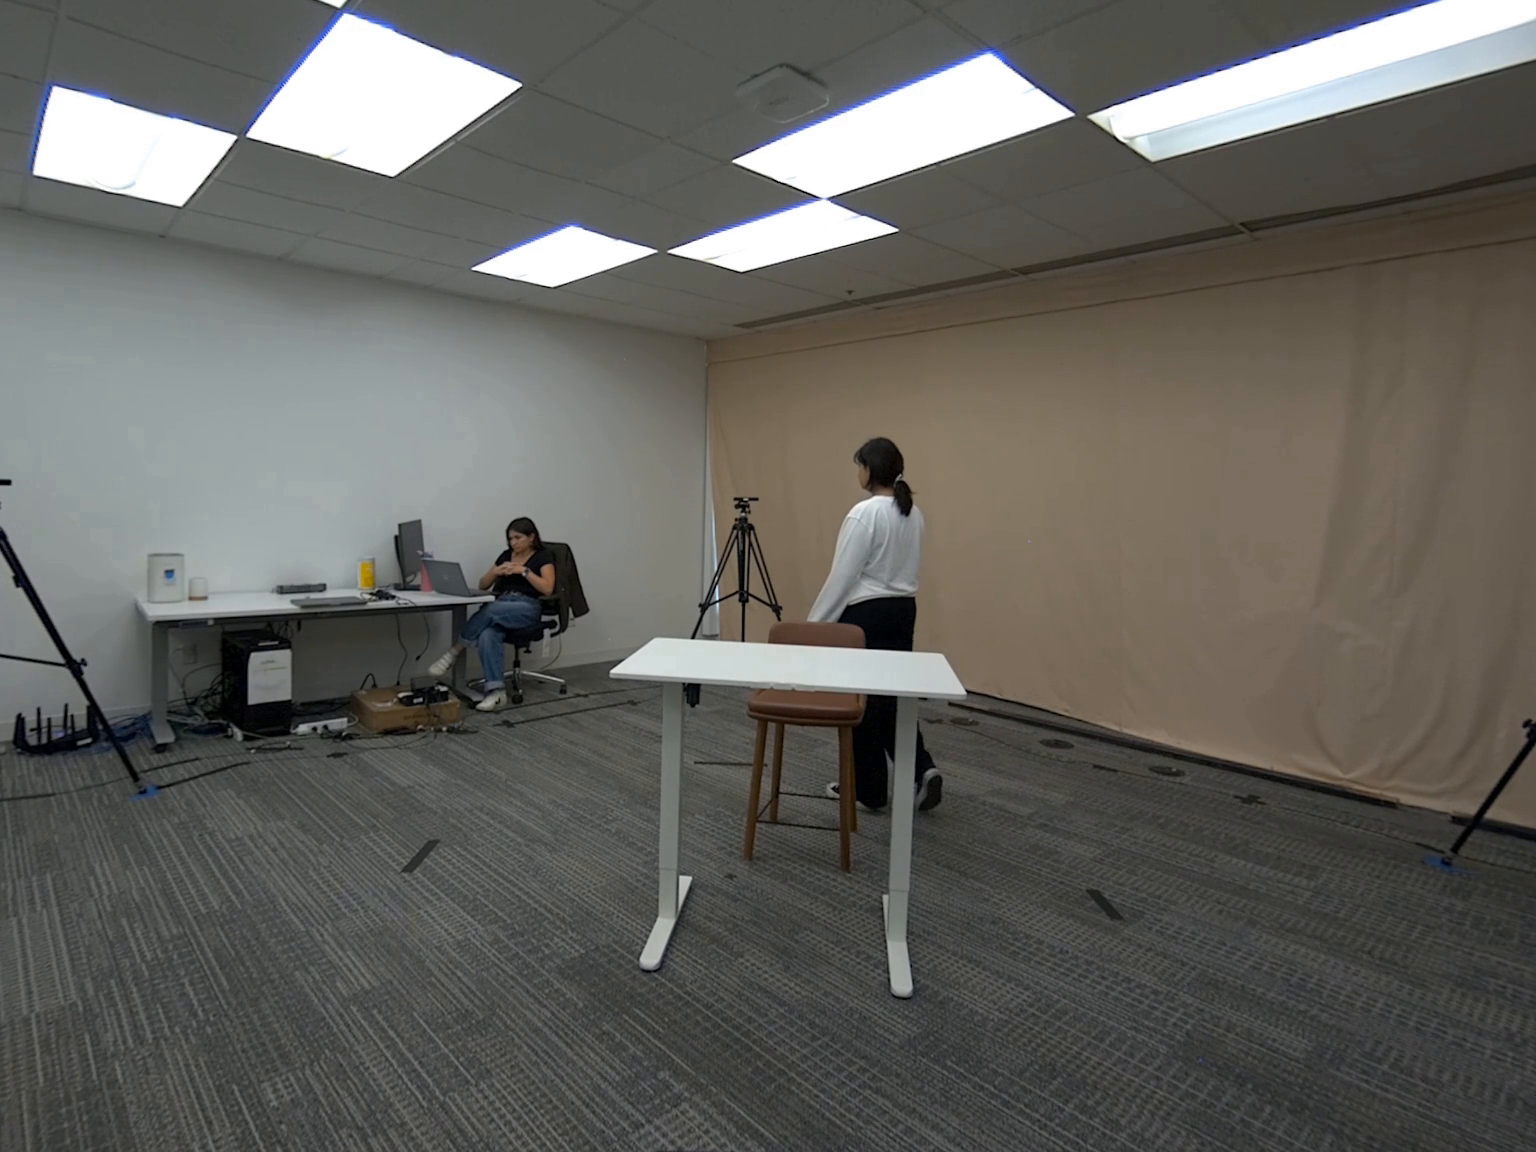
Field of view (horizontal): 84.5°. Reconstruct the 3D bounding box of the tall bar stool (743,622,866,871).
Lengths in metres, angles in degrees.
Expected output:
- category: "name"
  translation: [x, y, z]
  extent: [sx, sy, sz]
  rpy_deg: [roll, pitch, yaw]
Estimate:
- category: "tall bar stool"
  translation: [0.154, 0.654, 3.404]
  extent: [0.462, 0.889, 0.462]
  rpy_deg: [2, 1, 14]
